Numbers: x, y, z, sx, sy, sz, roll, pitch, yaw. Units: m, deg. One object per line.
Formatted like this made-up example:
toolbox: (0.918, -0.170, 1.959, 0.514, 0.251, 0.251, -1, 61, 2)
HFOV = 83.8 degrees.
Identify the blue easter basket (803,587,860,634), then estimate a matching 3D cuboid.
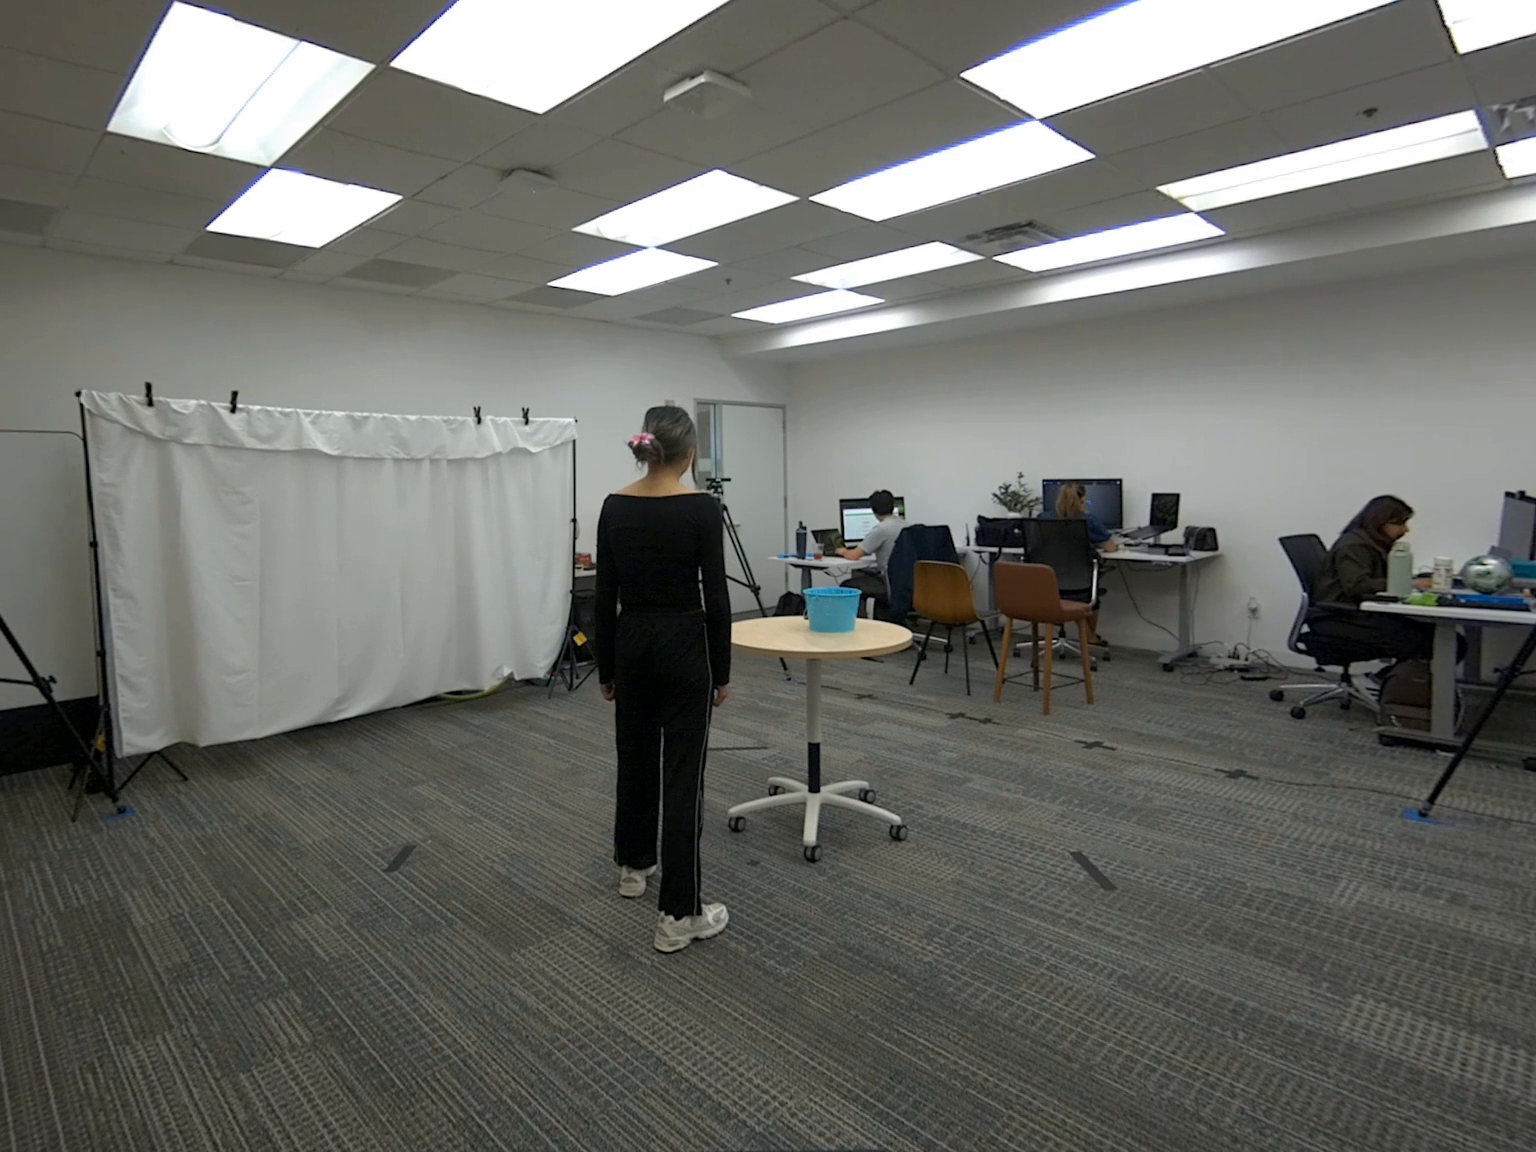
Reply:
blue easter basket: (0.267, 0.142, 3.458, 0.243, 0.155, 0.245, 0, 6, -2)
